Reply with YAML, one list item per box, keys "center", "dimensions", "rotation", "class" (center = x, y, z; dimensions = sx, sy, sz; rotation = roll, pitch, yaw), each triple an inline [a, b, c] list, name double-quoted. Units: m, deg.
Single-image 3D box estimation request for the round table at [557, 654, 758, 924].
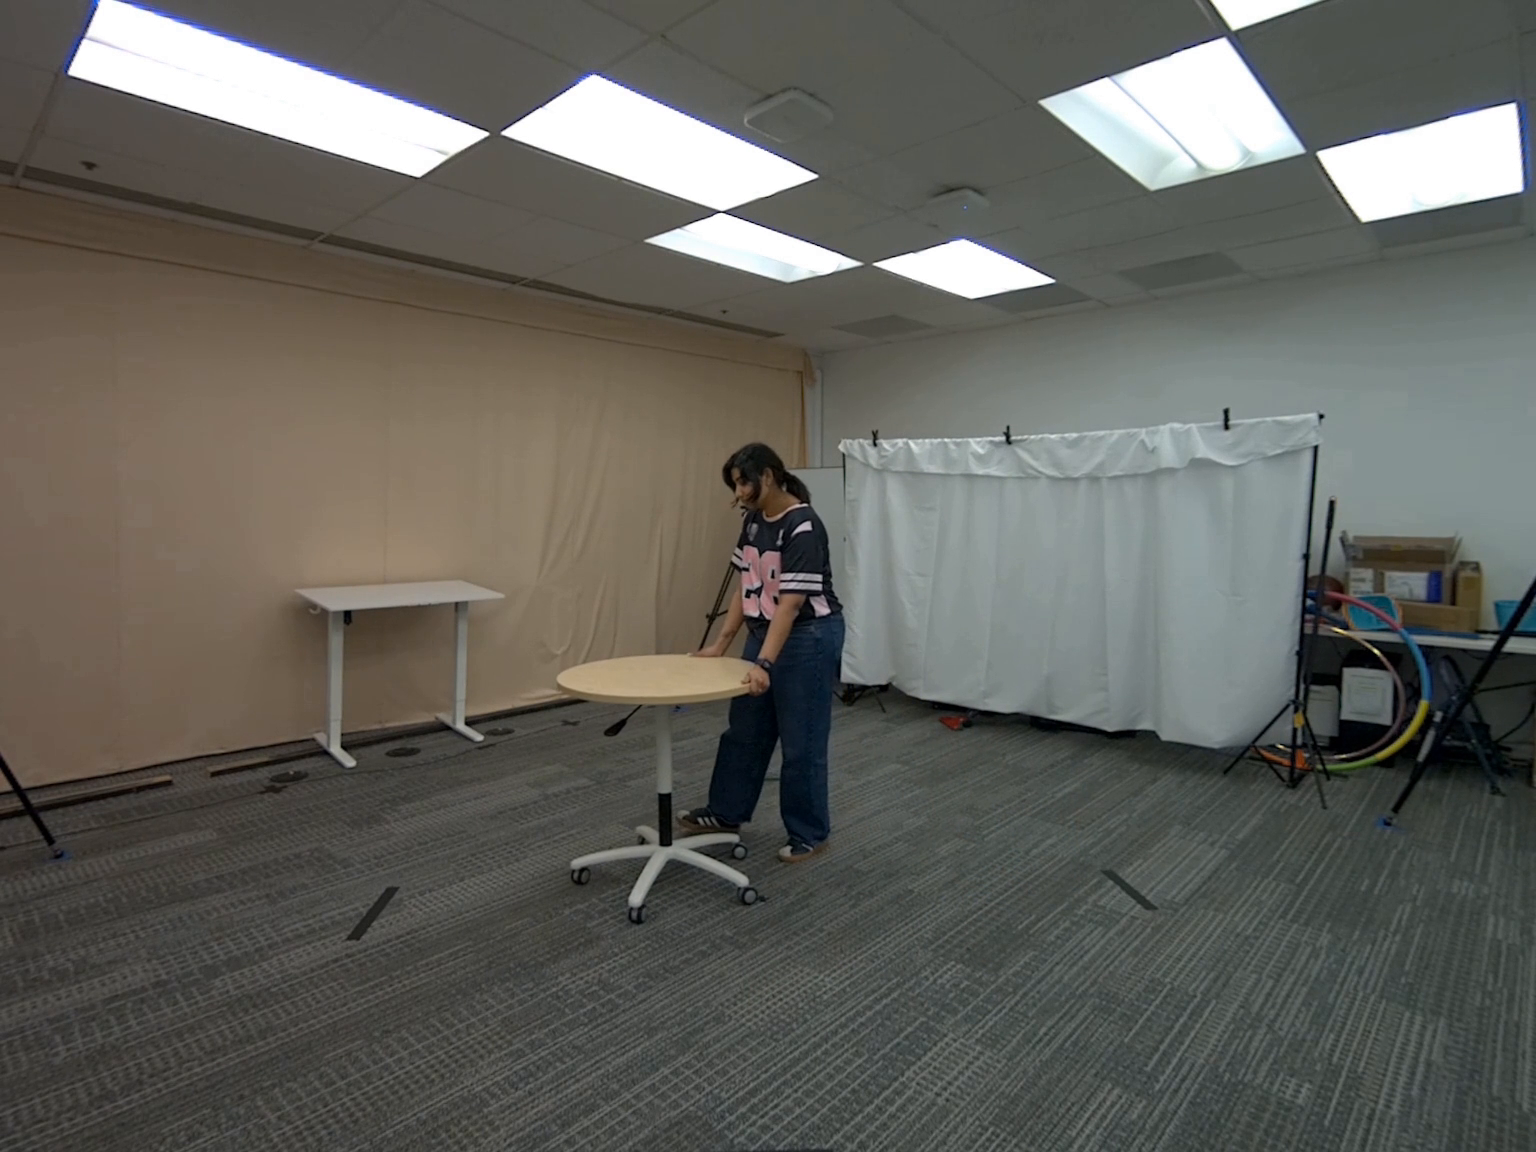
- center: [-0.368, 0.741, 3.108]
  dimensions: [0.784, 0.784, 0.788]
  rotation: [-1, 4, -2]
  class: "round table"
